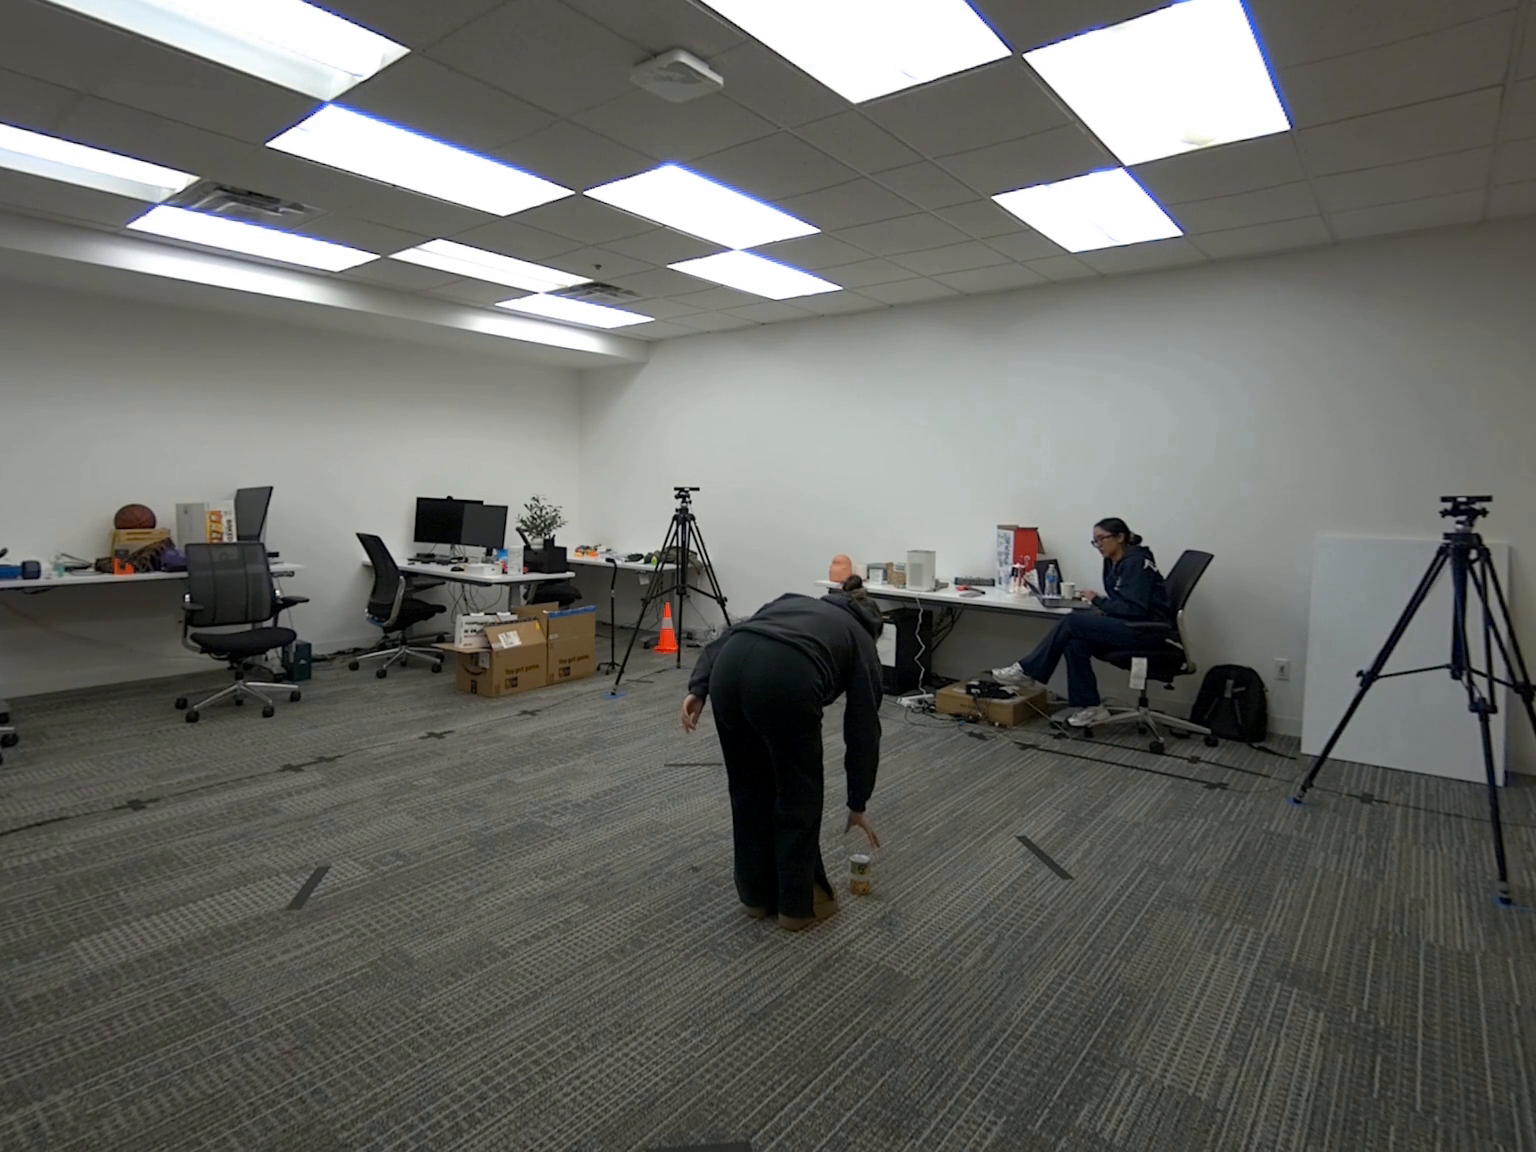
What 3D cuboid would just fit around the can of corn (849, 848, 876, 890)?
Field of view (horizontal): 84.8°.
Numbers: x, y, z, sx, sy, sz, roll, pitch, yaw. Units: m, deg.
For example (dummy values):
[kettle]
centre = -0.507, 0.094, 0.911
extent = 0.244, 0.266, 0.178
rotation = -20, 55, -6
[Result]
[can of corn]
centre = 0.331, 1.032, 2.968
extent = 0.074, 0.111, 0.074
rotation = 0, 4, -2
